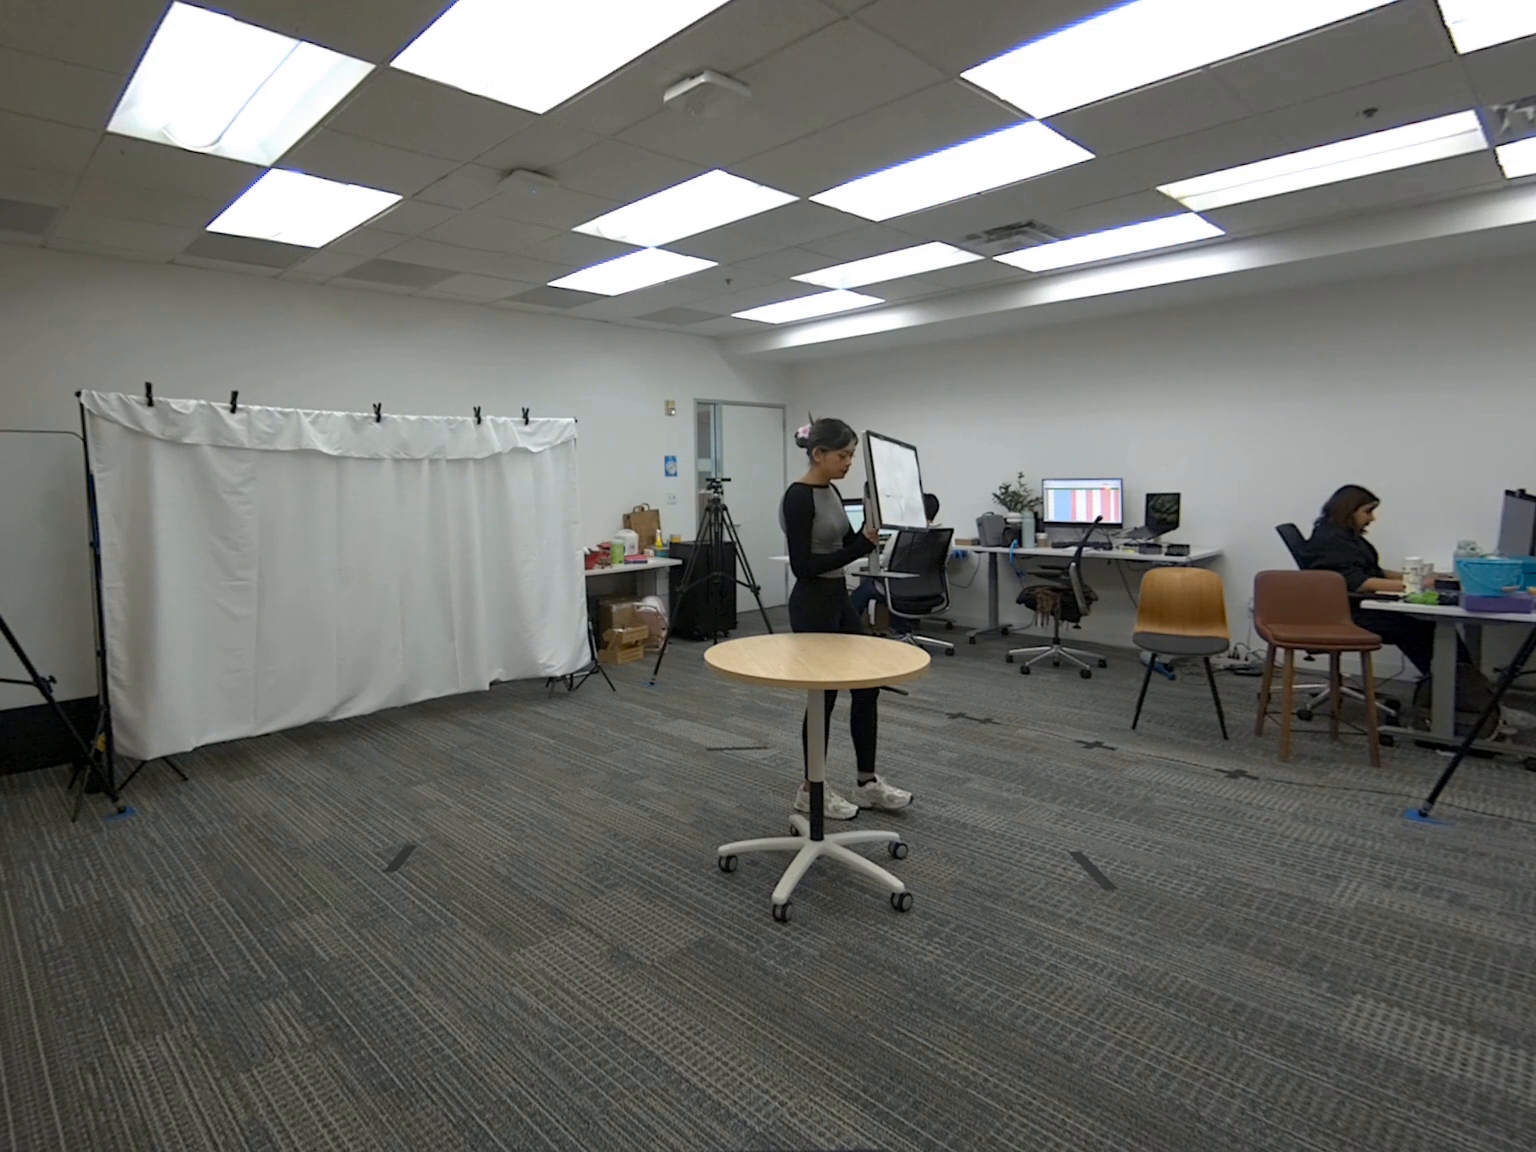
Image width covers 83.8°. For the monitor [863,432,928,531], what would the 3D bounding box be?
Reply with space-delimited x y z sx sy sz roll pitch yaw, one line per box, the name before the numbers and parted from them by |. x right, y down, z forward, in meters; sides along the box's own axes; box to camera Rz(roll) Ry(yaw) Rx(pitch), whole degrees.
monitor | 0.473 -0.273 3.354 0.192 0.522 0.526 2 1 28
